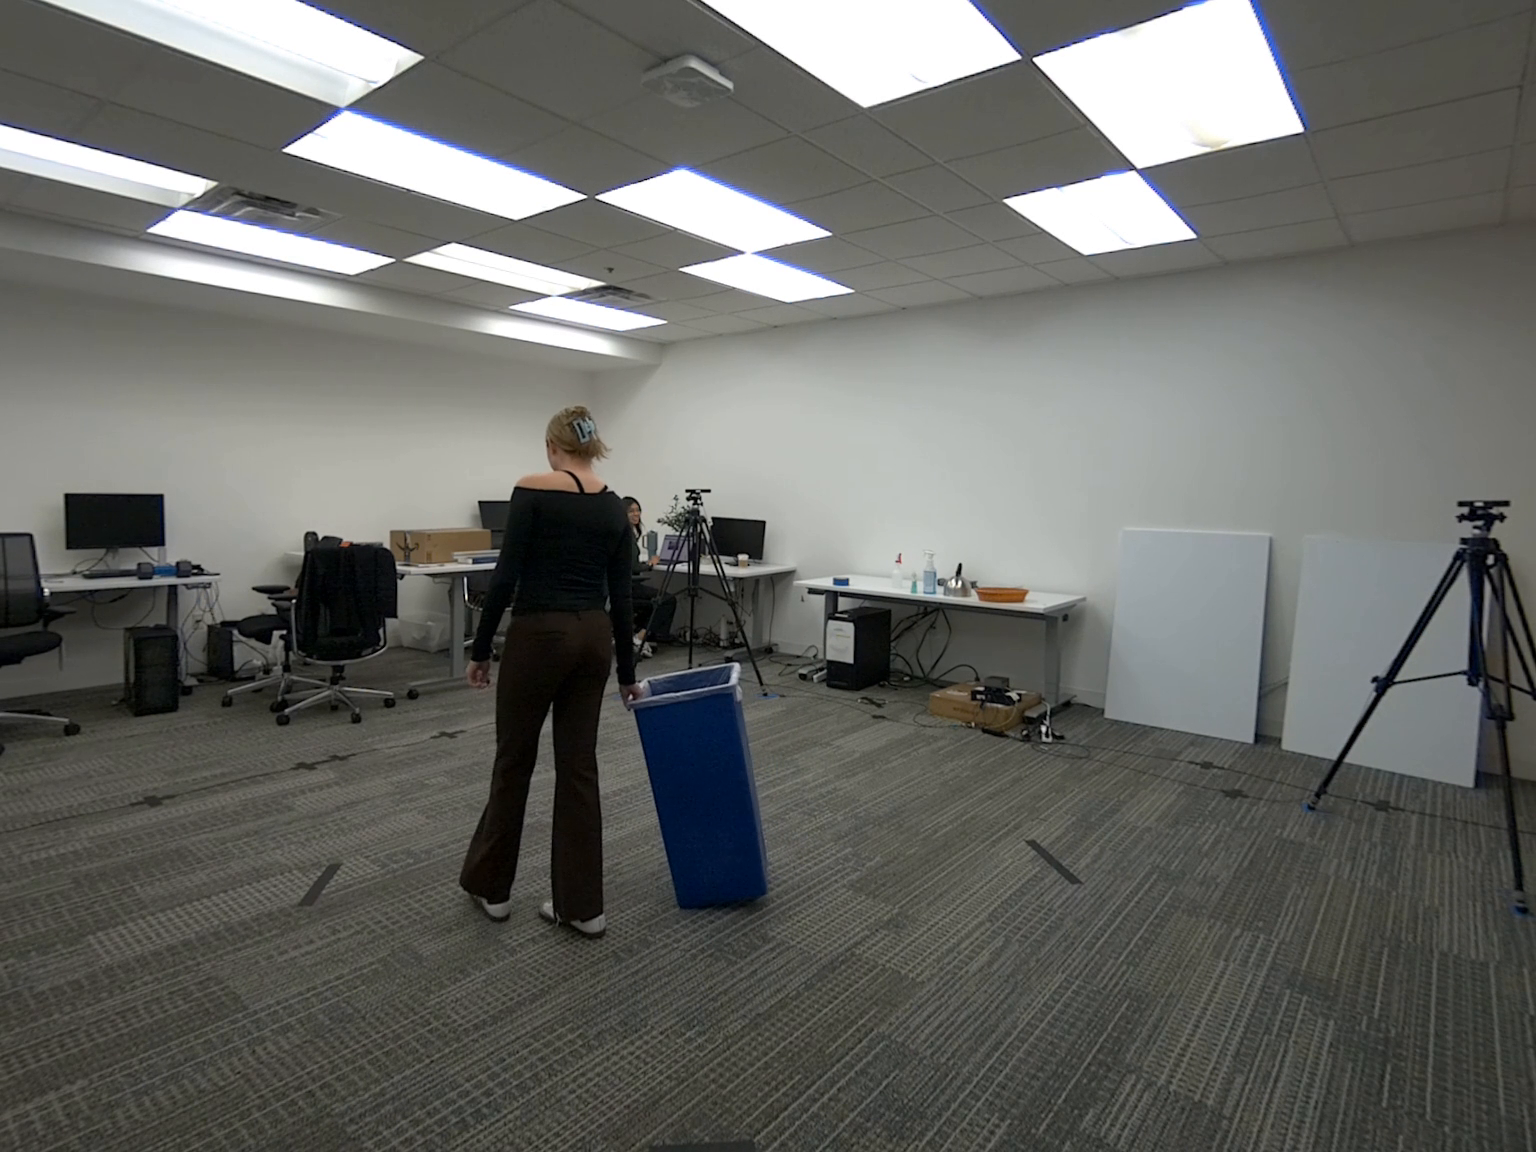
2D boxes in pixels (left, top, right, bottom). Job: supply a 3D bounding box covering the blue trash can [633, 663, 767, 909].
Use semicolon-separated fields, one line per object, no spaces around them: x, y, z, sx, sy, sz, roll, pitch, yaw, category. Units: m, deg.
-0.237;0.710;2.947;0.375;0.712;0.378;-10;2;2;blue trash can
